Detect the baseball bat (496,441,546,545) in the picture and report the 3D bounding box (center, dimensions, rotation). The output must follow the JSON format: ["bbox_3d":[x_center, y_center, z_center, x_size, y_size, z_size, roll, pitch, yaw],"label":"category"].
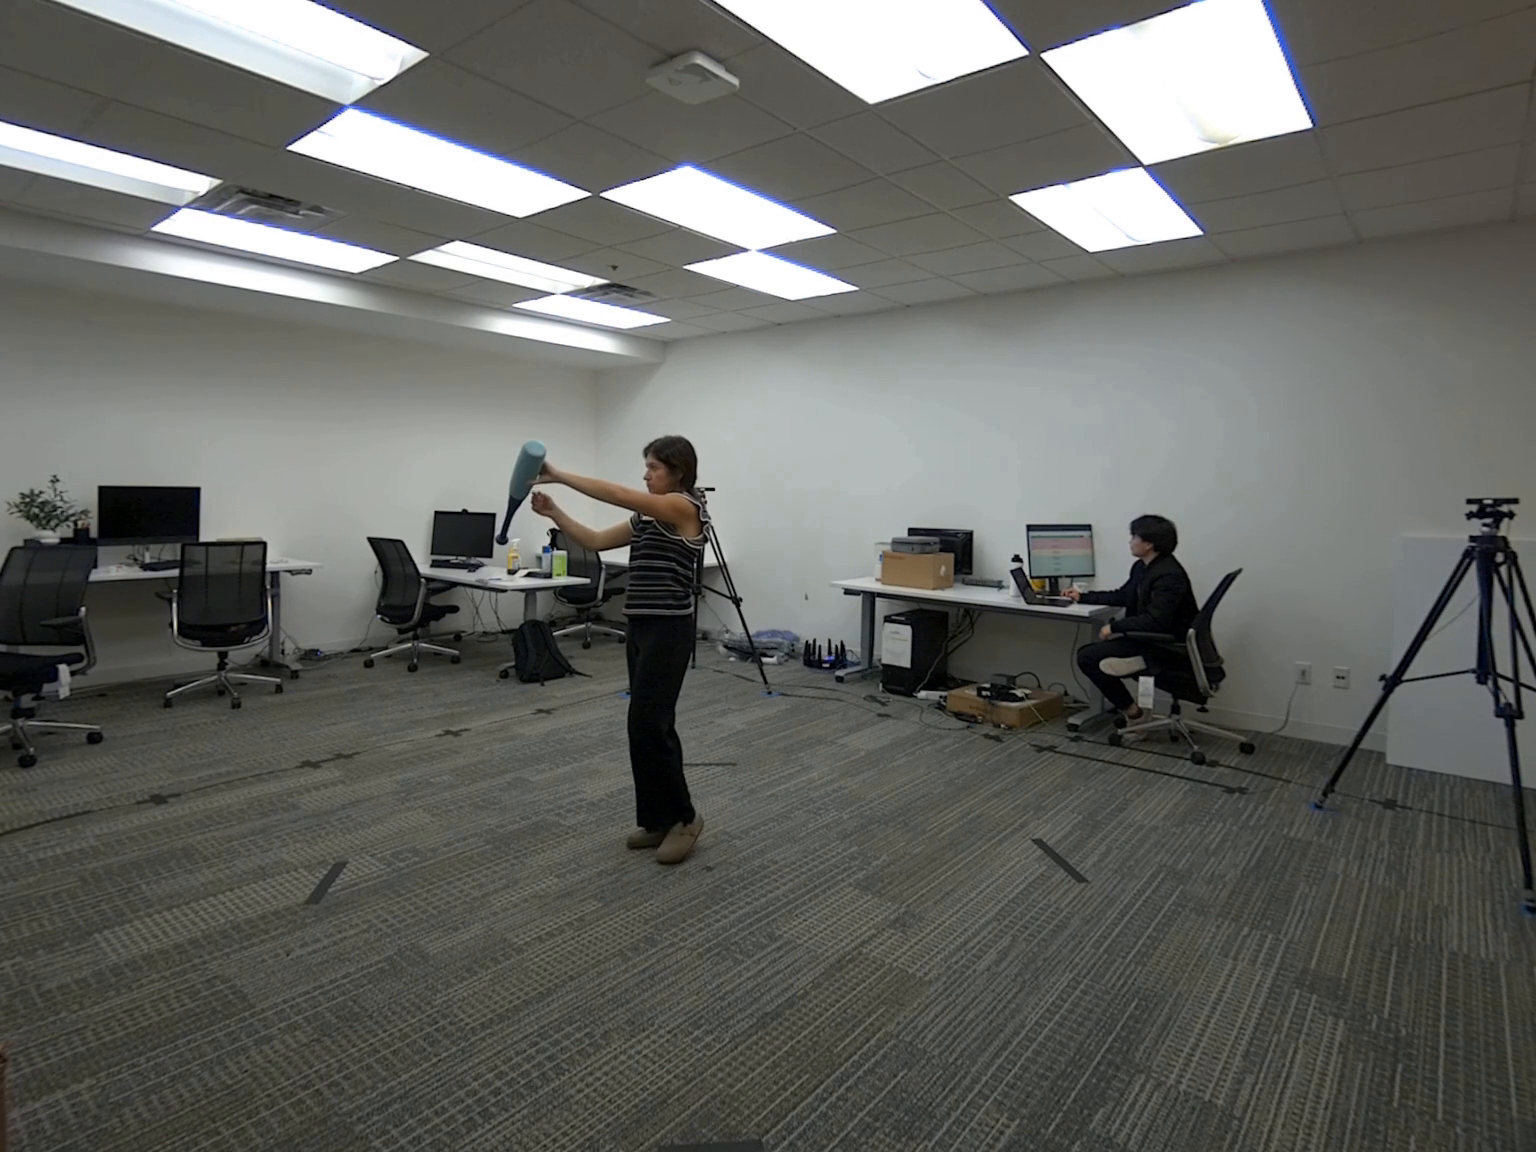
[{"bbox_3d":[-0.943,-0.289,3.147,0.086,0.092,0.539,-1,-36,-33],"label":"baseball bat"}]
